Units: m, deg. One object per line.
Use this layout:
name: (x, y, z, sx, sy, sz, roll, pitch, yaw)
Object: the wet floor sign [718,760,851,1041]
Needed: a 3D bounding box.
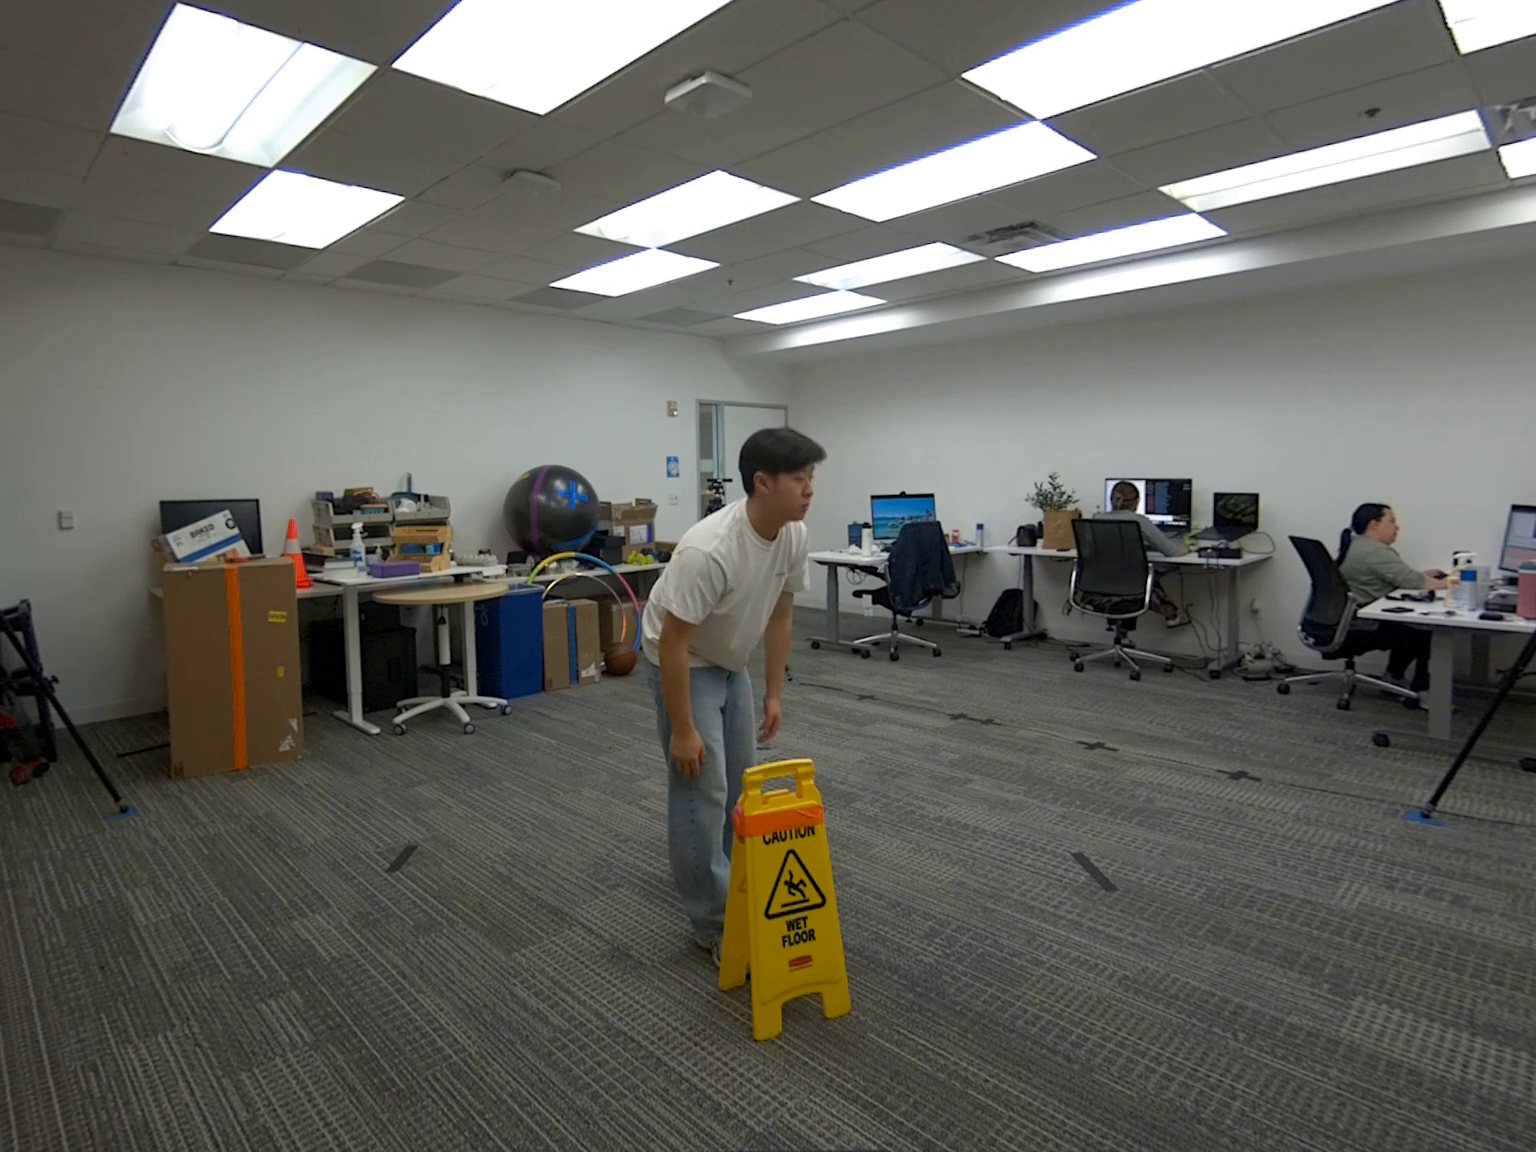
wet floor sign: (0.043, 0.816, 2.265, 0.277, 0.643, 0.297, -3, 5, -23)
